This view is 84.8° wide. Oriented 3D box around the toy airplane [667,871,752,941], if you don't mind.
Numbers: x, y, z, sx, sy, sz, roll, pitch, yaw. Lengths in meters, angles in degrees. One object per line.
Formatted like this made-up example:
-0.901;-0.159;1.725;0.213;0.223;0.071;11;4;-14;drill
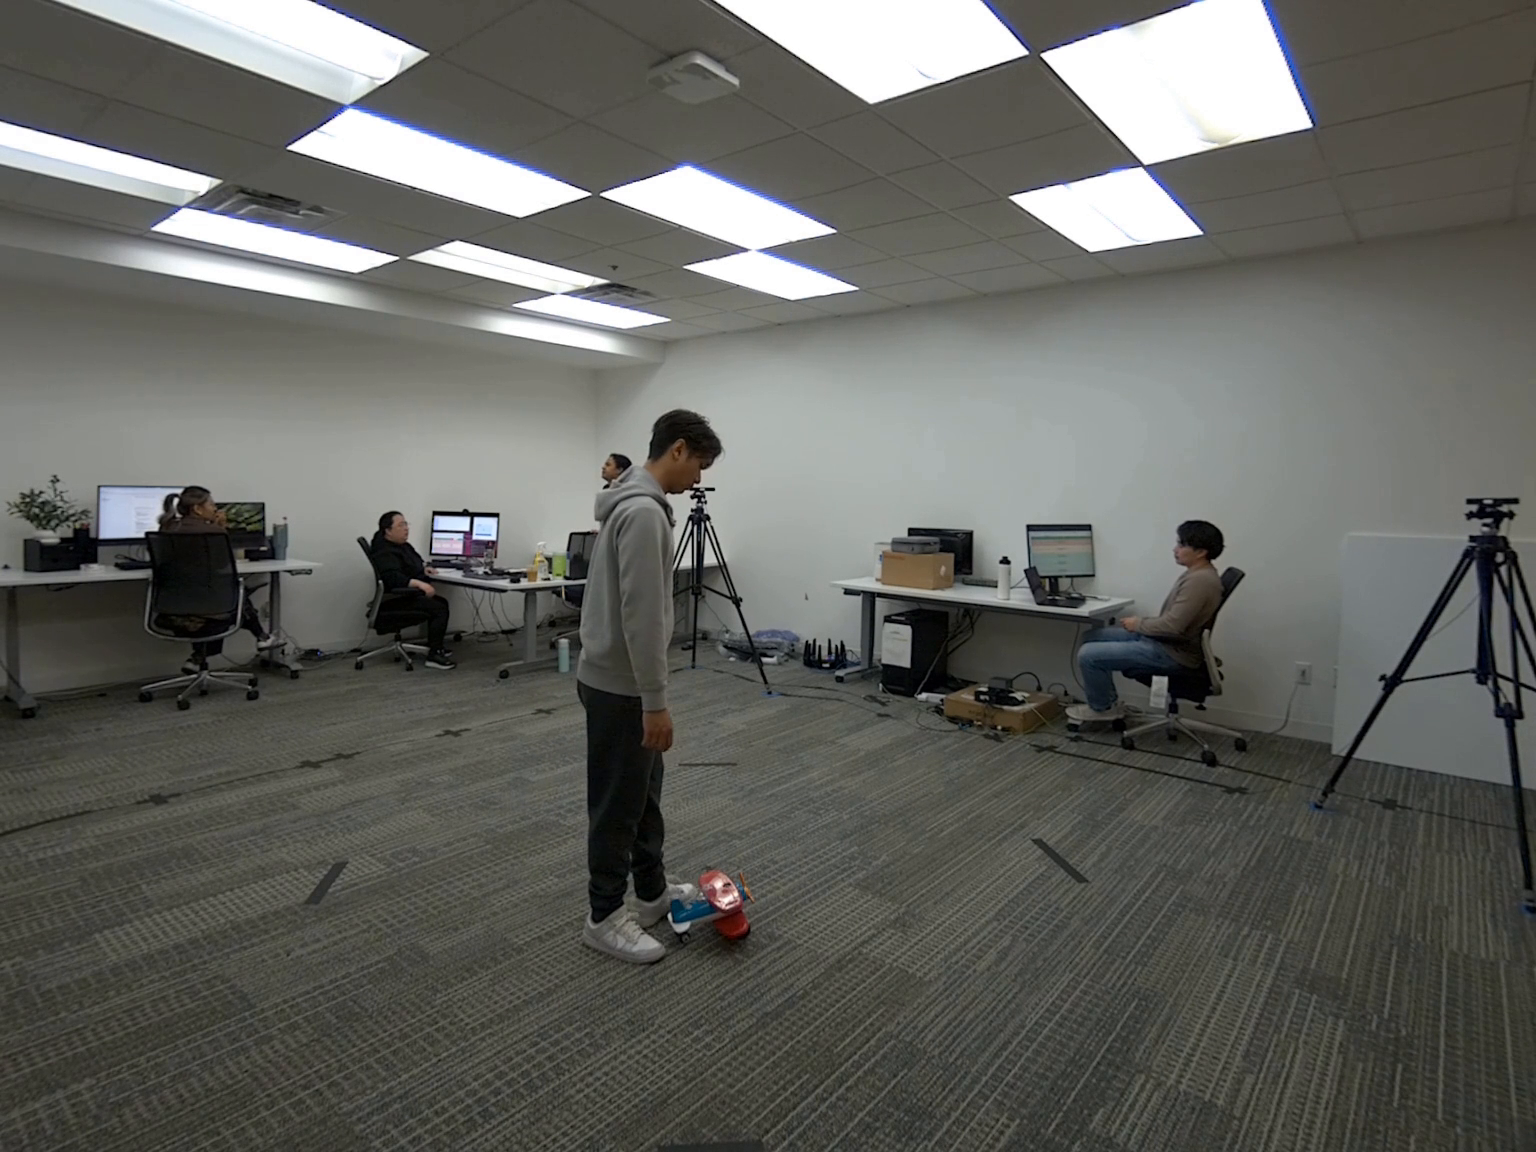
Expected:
-0.182;1.046;2.621;0.260;0.156;0.251;7;6;42;toy airplane
